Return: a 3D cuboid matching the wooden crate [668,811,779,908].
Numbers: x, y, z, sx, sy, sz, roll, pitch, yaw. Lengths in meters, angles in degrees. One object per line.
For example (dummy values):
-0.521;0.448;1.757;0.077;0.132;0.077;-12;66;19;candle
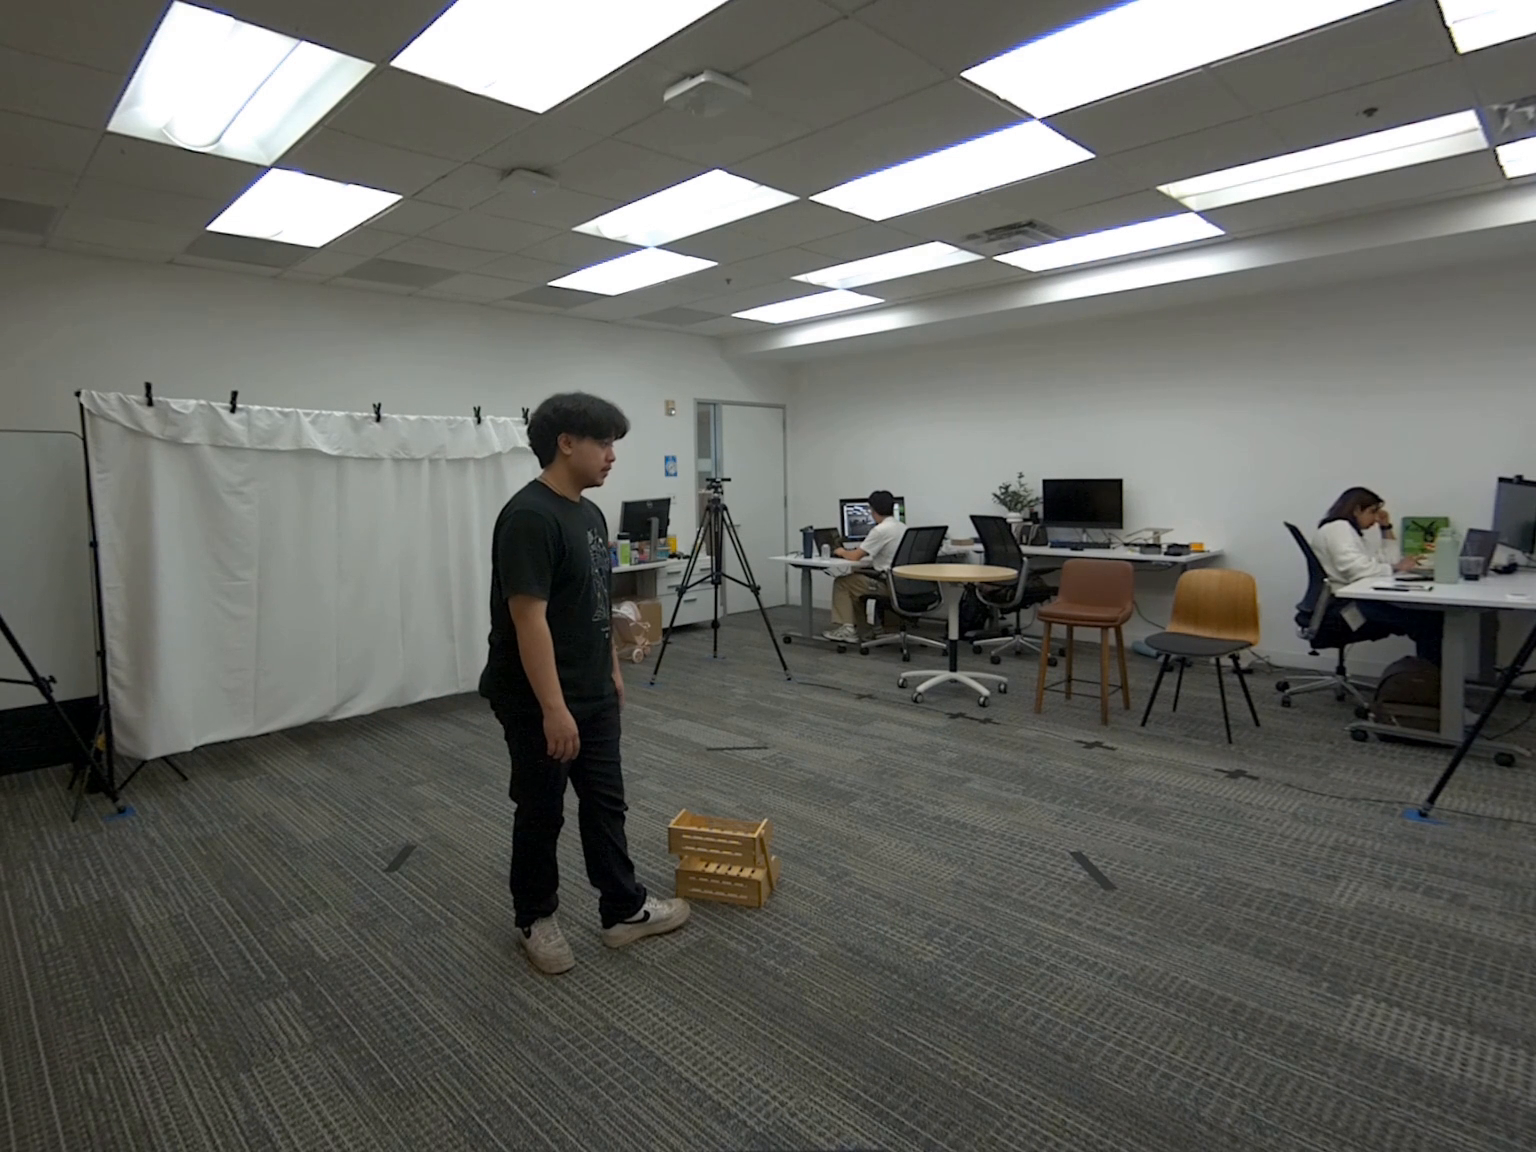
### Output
-0.142;0.930;2.914;0.330;0.272;0.299;0;6;16;wooden crate
